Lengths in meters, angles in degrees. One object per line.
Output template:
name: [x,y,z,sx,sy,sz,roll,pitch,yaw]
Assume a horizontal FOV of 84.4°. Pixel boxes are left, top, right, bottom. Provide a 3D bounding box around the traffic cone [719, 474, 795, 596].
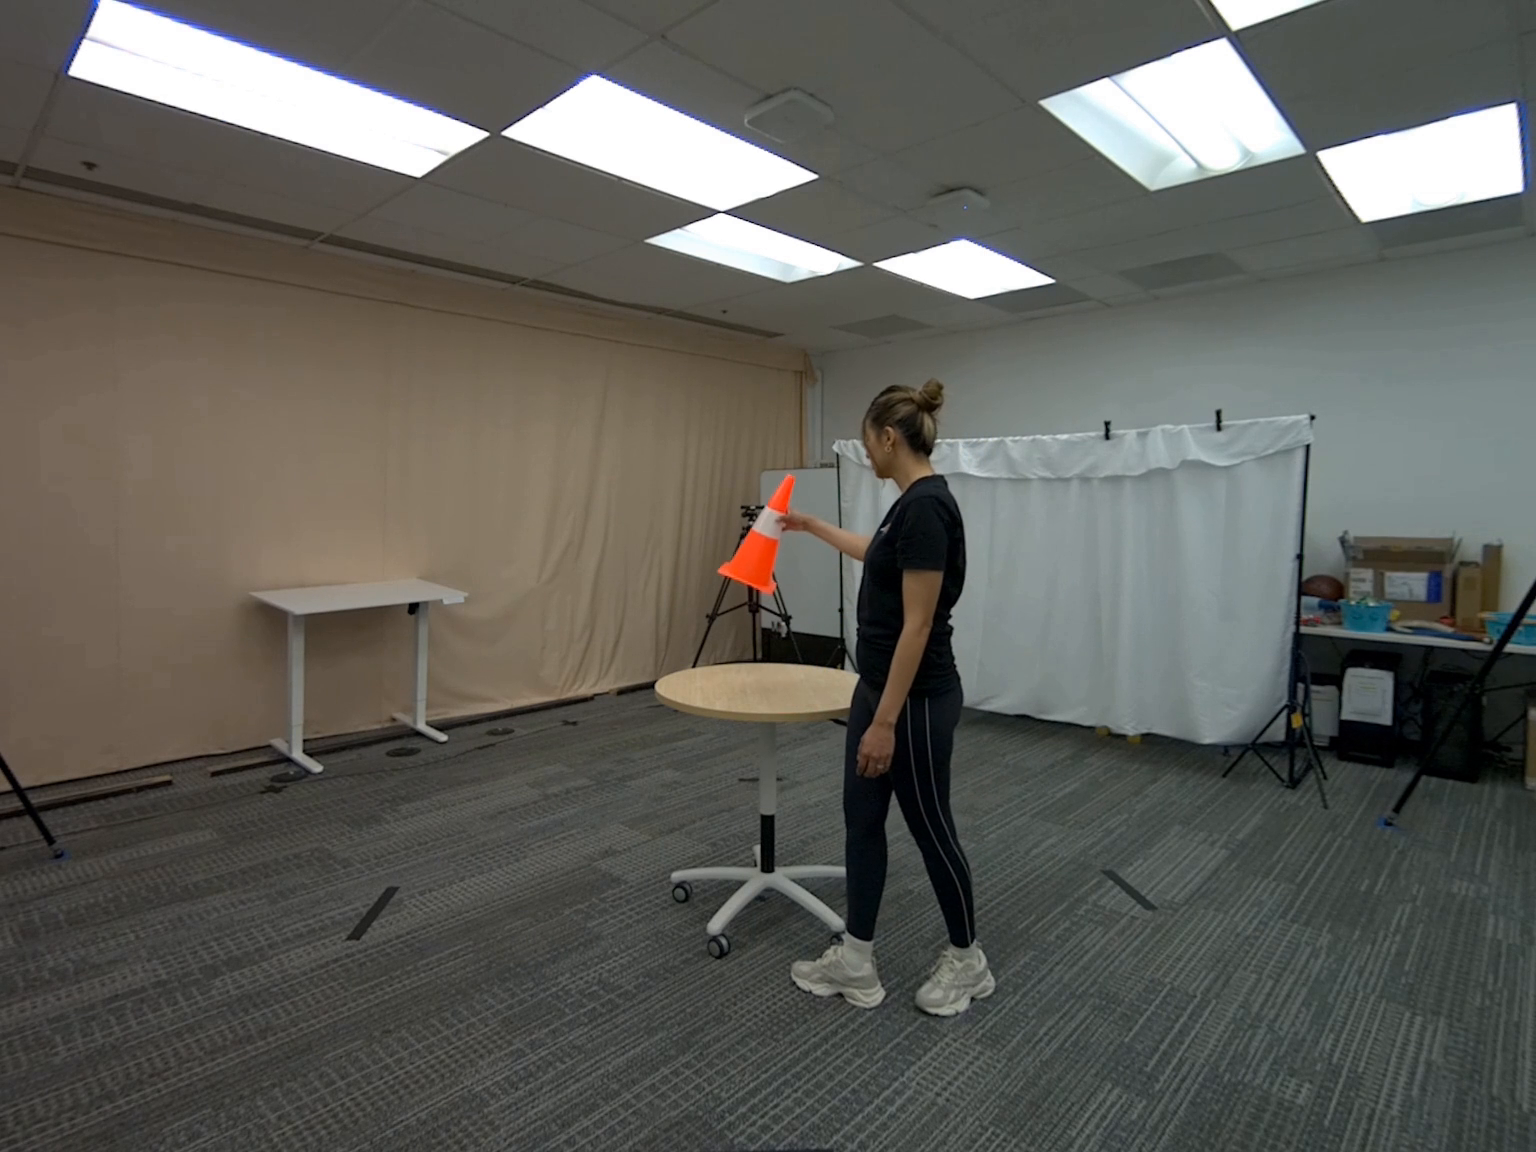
traffic cone: [0.007,-0.155,2.856,0.208,0.383,0.200,25,9,18]
